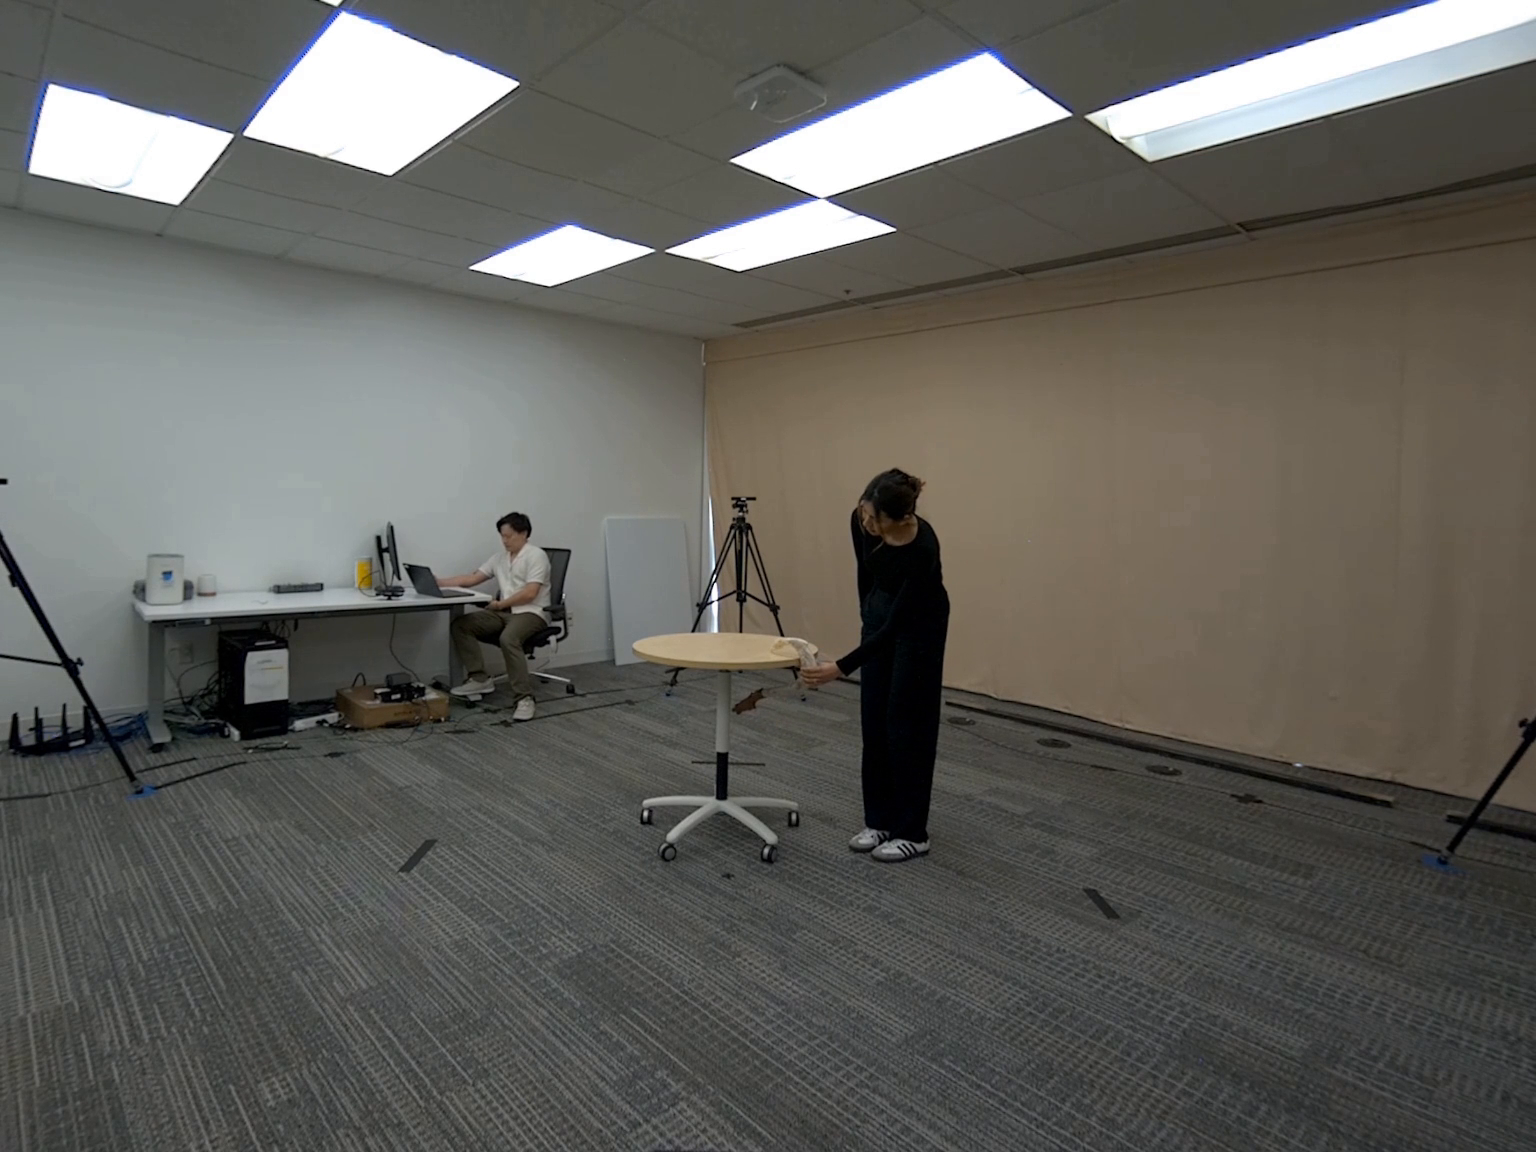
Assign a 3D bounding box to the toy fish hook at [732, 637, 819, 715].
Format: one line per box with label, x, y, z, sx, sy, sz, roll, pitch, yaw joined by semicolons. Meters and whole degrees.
toy fish hook;0.011;0.404;3.355;0.047;0.228;0.510;1;-26;-47
